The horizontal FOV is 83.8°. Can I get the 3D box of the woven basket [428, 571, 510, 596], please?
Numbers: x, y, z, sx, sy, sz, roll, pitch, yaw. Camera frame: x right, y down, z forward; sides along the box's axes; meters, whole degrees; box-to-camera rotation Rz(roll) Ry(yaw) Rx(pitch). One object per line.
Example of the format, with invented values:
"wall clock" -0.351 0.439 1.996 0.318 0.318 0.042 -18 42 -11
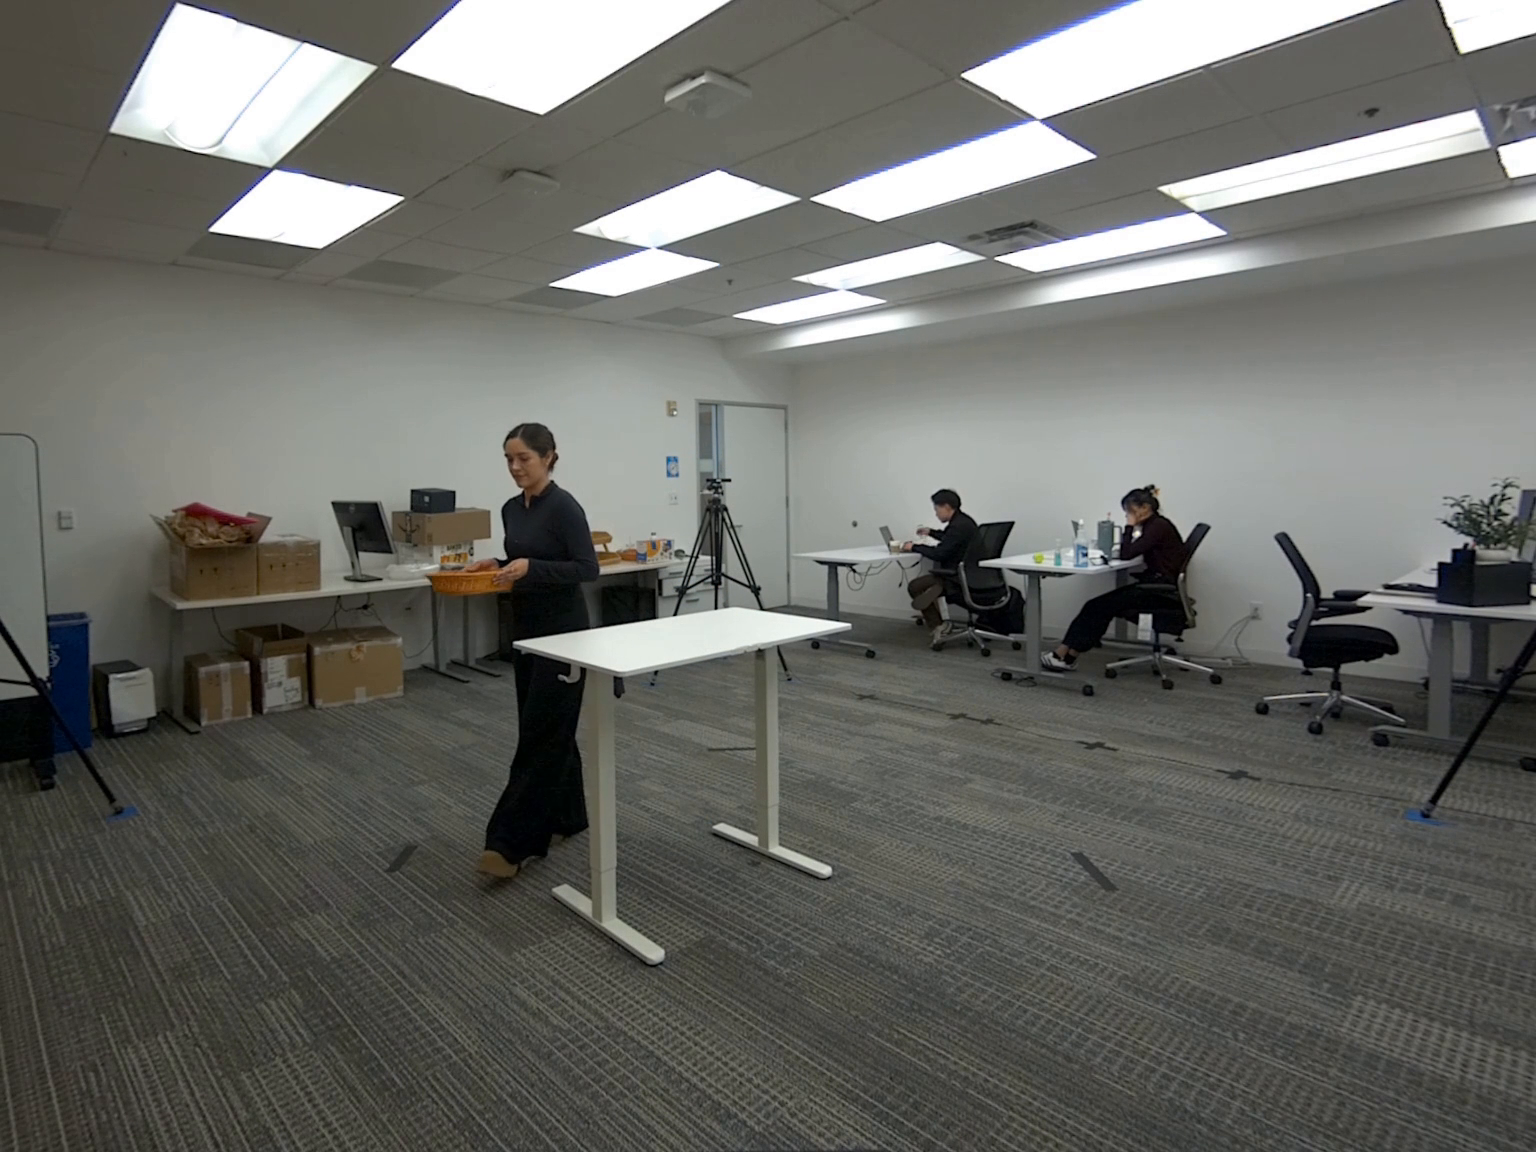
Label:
"woven basket" -1.073 0.020 3.030 0.256 0.073 0.346 0 4 13
